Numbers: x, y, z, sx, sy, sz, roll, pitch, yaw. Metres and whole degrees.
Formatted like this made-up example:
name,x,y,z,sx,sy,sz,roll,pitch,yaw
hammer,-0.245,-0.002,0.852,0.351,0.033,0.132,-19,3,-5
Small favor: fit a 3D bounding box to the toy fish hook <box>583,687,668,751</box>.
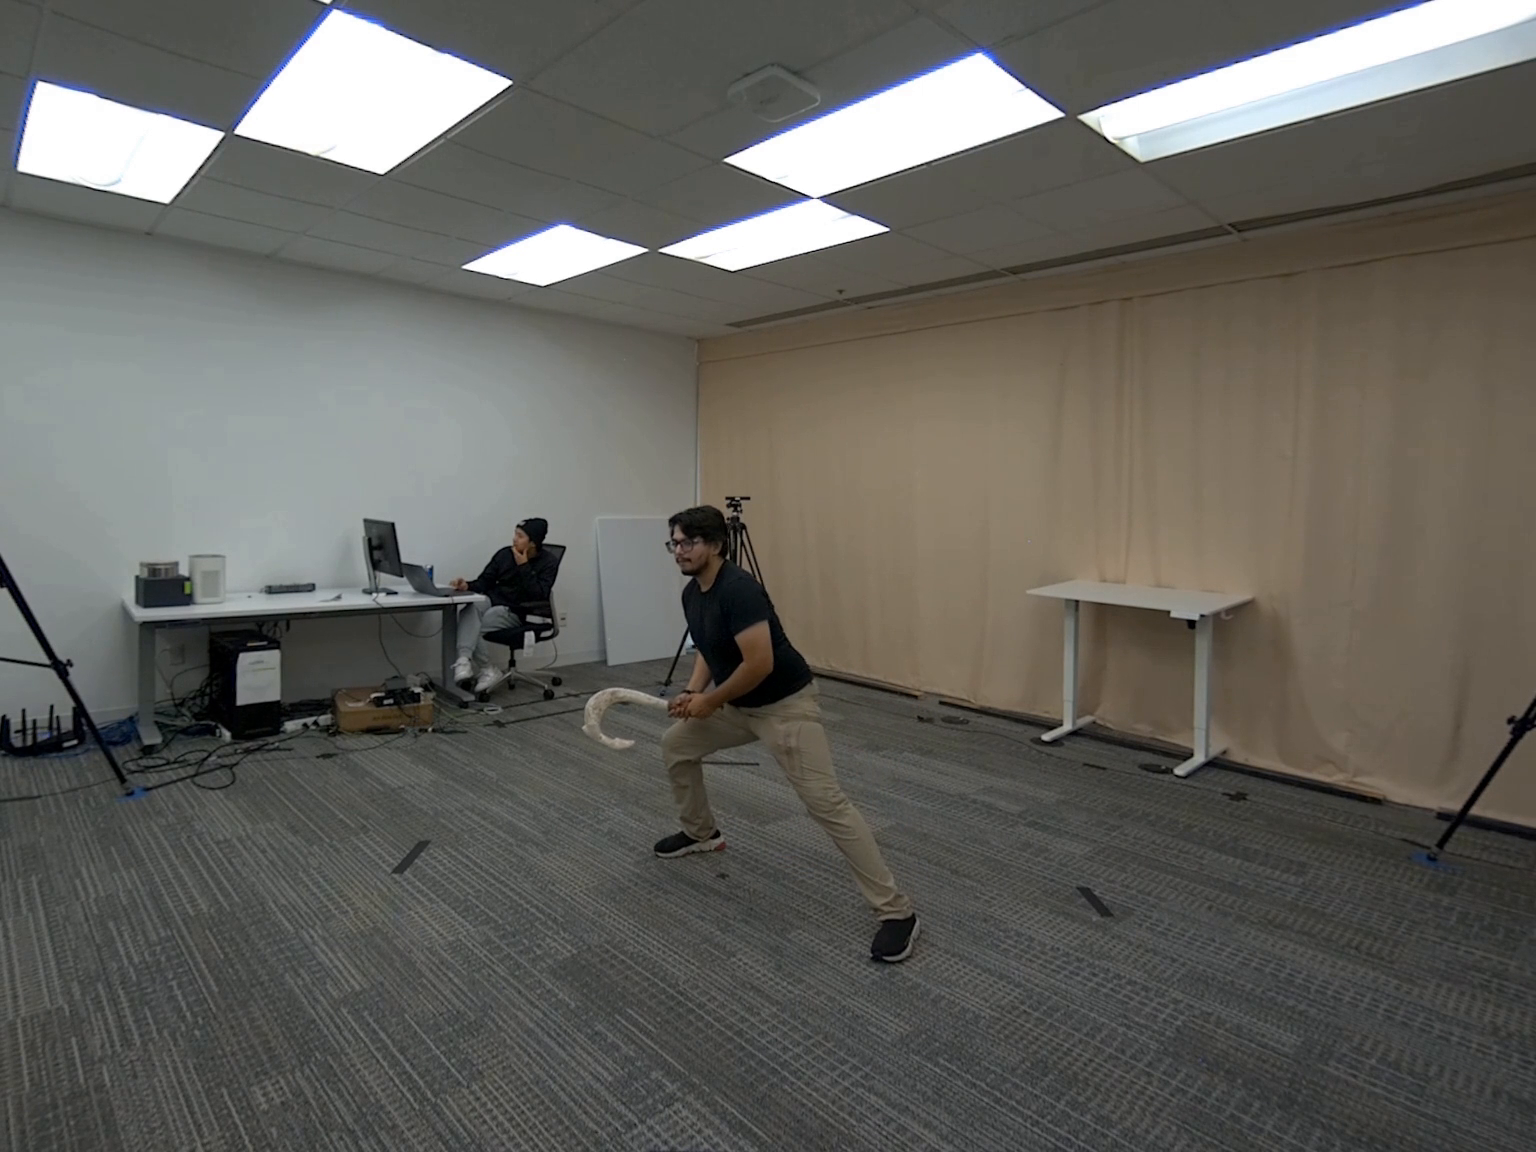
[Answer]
name,x,y,z,sx,sy,sz,roll,pitch,yaw
toy fish hook,-0.416,0.515,3.042,0.507,0.228,0.047,0,-23,1
